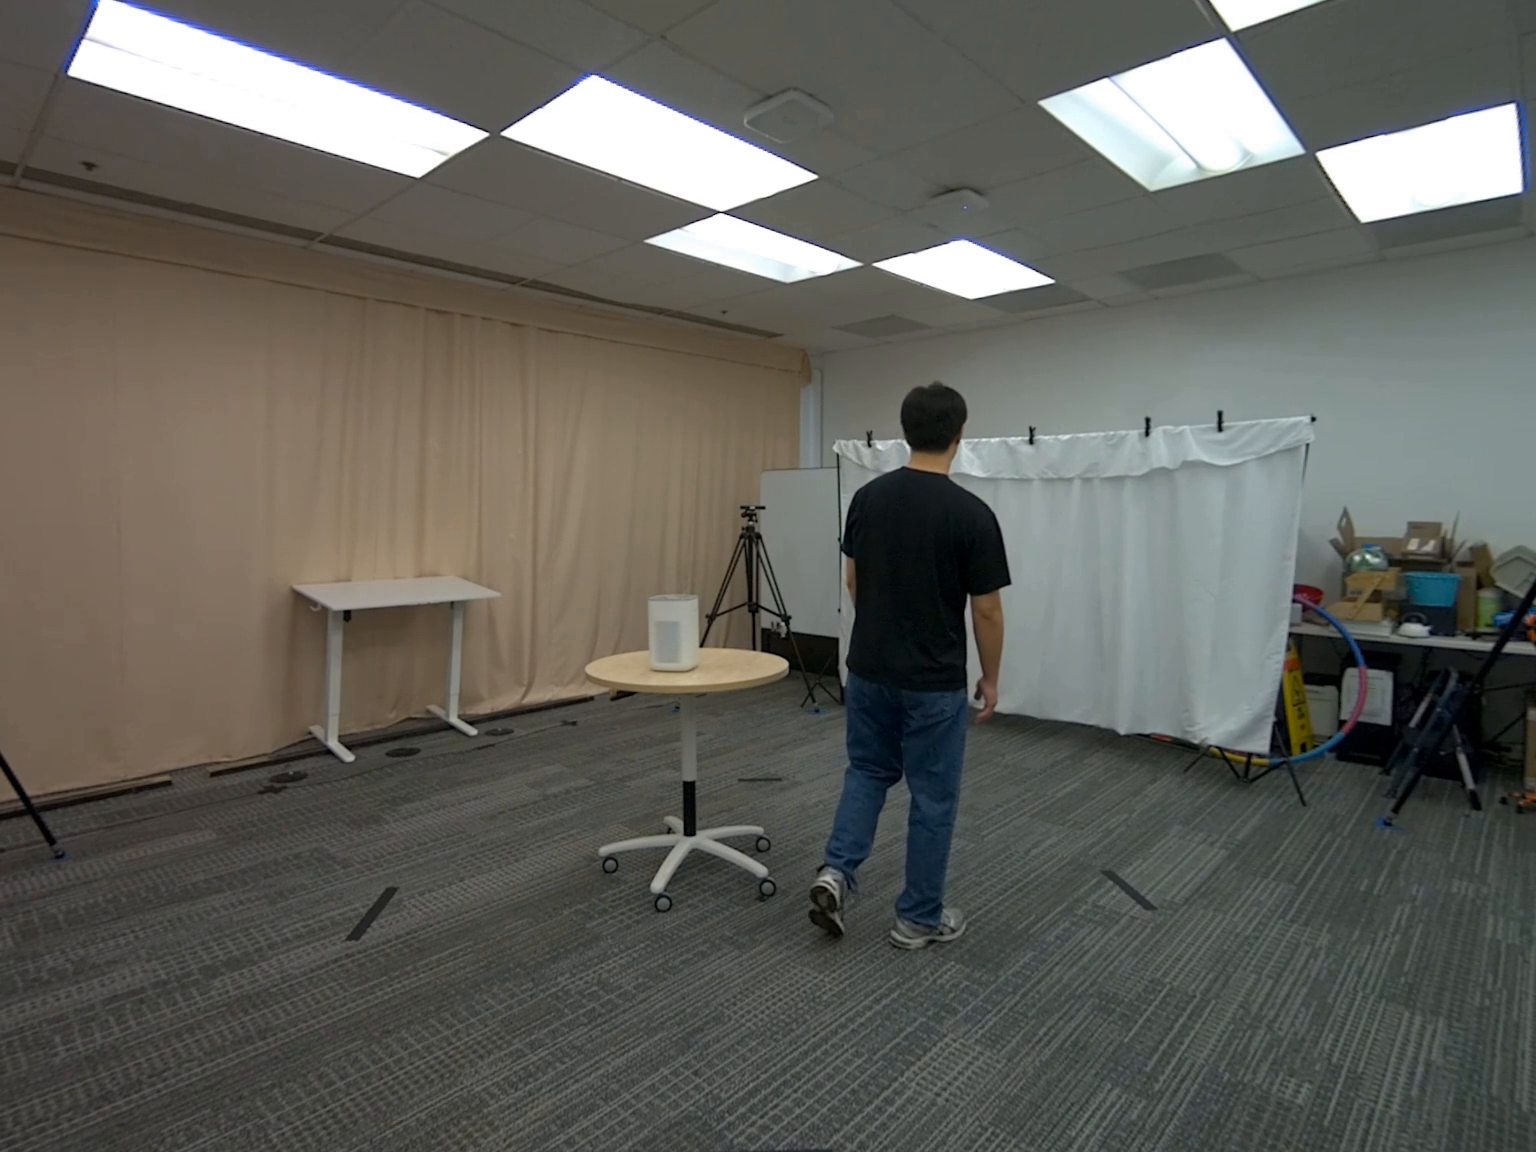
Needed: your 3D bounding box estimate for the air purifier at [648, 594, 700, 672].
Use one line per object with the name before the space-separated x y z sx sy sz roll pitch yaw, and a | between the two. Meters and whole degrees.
air purifier | -0.349 0.211 3.094 0.173 0.265 0.169 1 3 9
